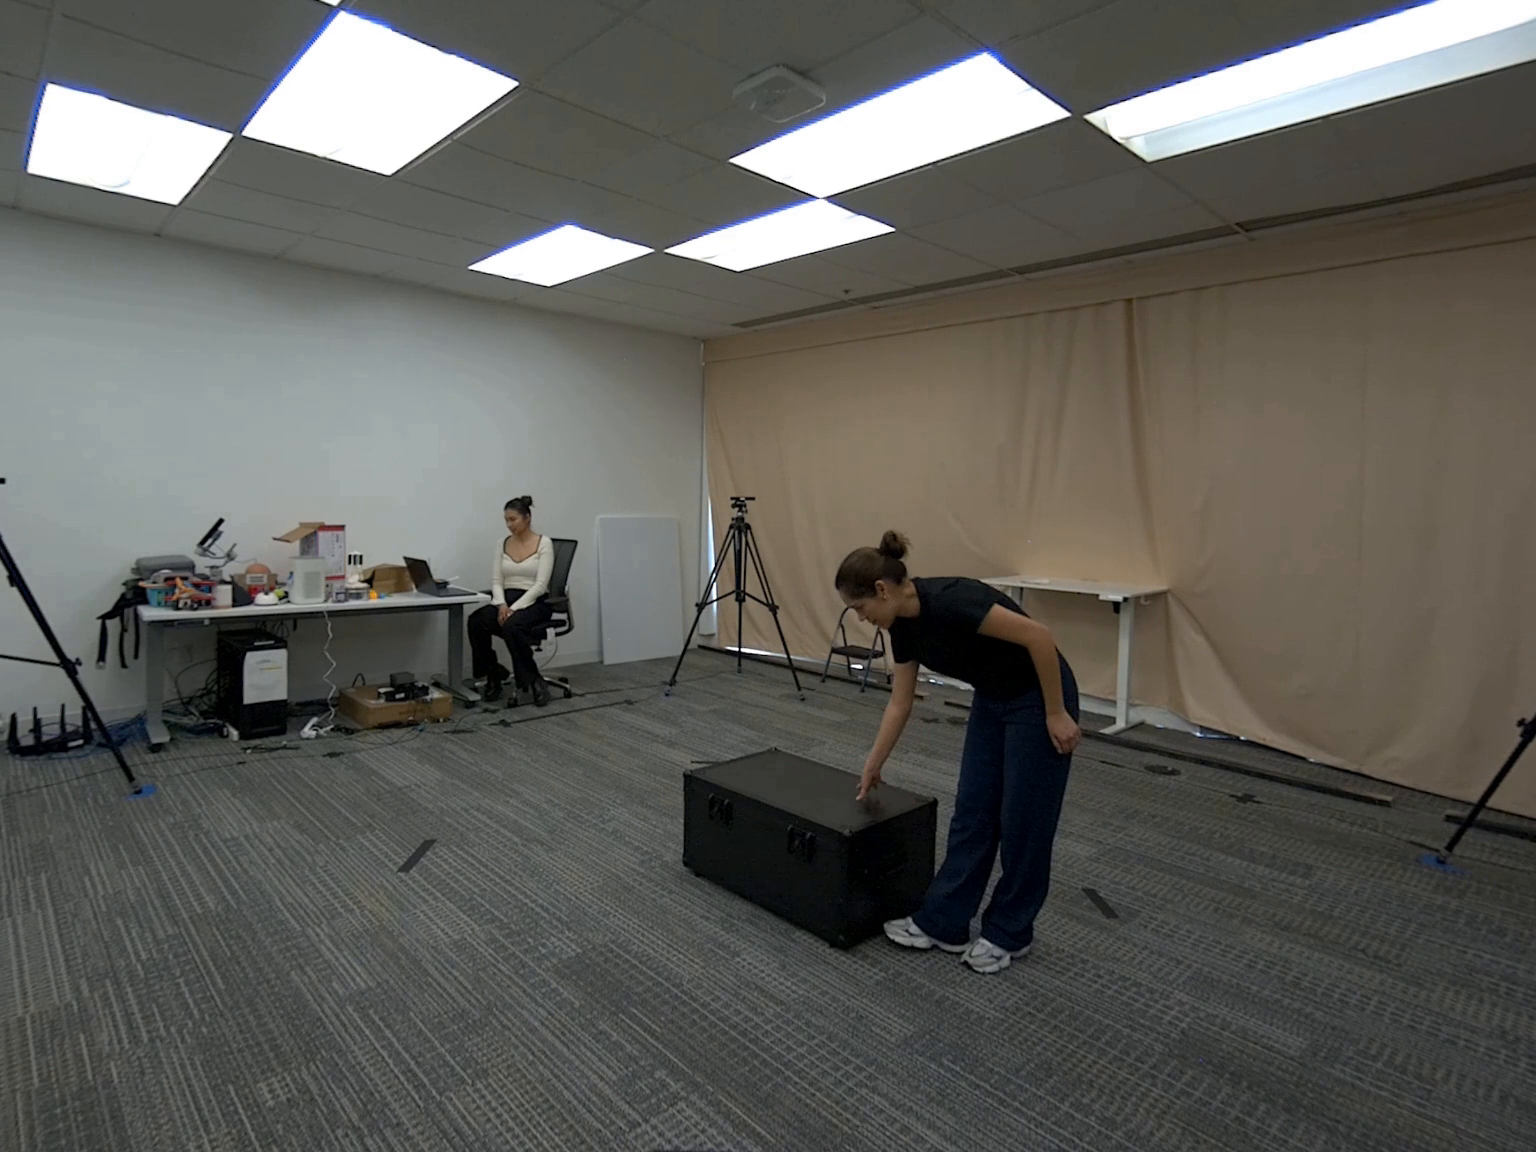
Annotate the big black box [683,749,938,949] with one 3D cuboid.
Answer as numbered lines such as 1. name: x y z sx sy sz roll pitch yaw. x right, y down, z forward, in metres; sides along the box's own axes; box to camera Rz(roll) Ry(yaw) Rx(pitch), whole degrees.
1. big black box: 0.099 0.913 3.018 0.509 0.395 0.883 -3 6 -45
